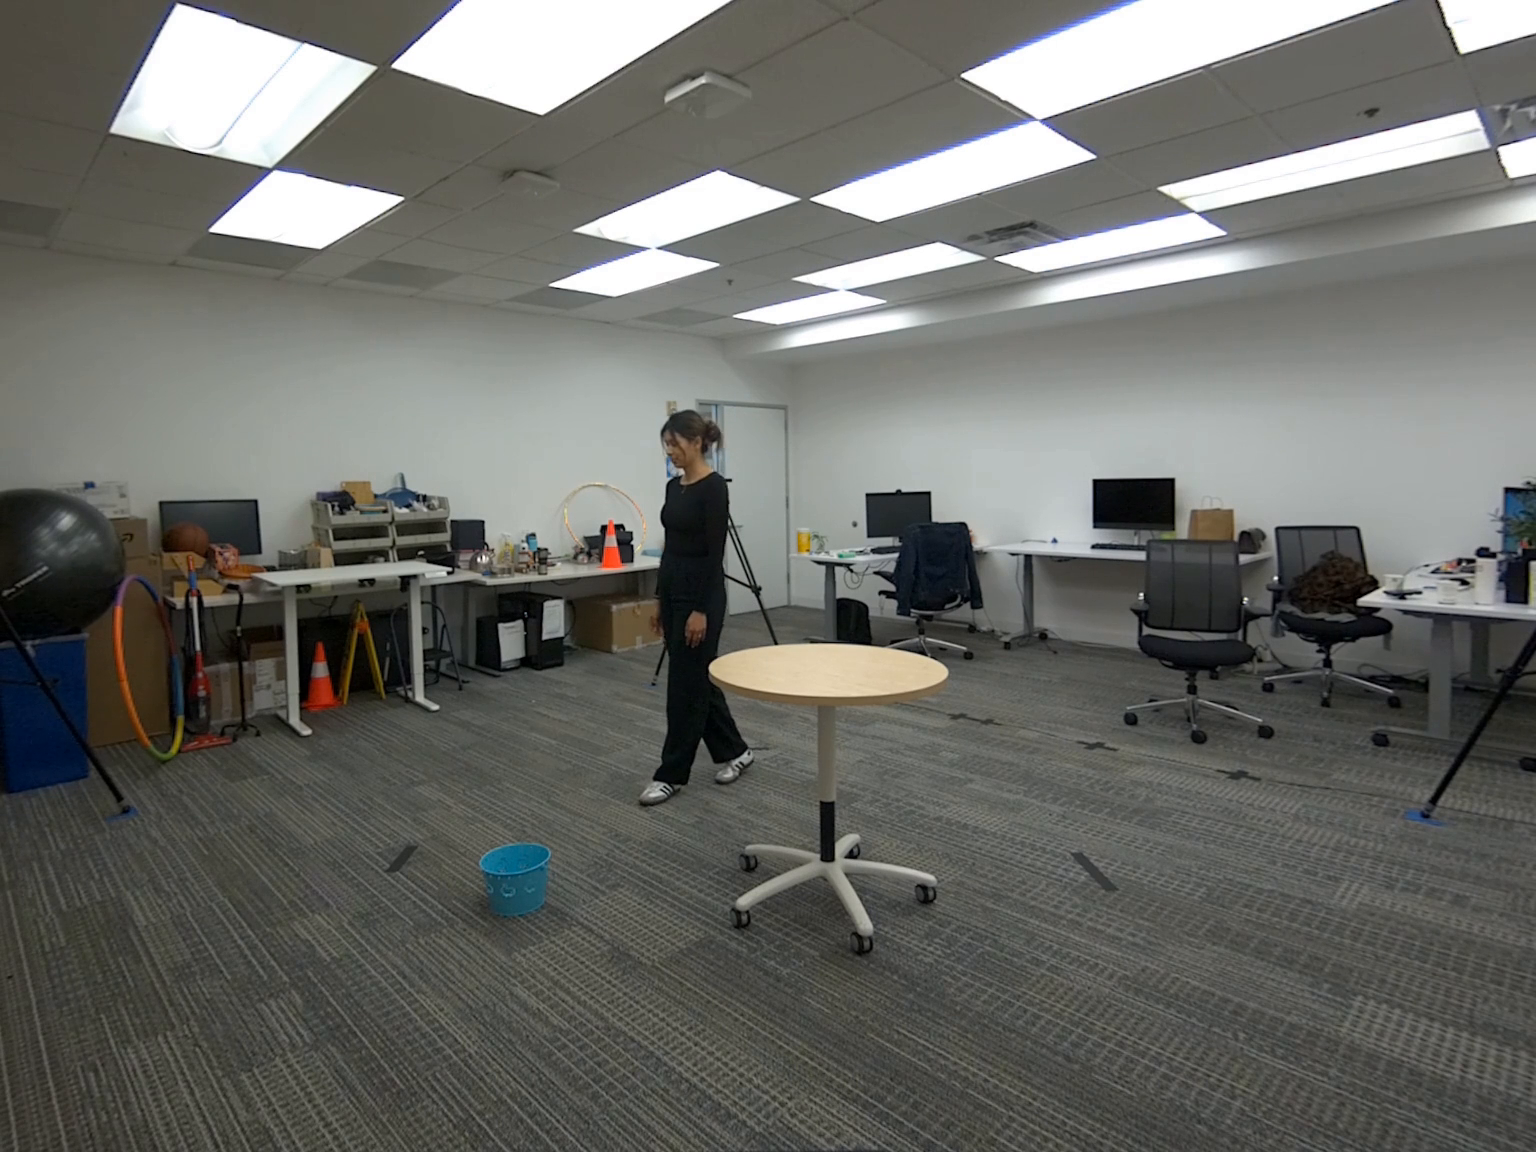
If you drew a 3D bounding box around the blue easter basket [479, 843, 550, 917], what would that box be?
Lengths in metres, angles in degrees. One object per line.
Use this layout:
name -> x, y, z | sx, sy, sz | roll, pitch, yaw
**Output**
blue easter basket -> -0.834, 1.013, 2.854 | 0.243, 0.155, 0.245 | -1, 6, -2
